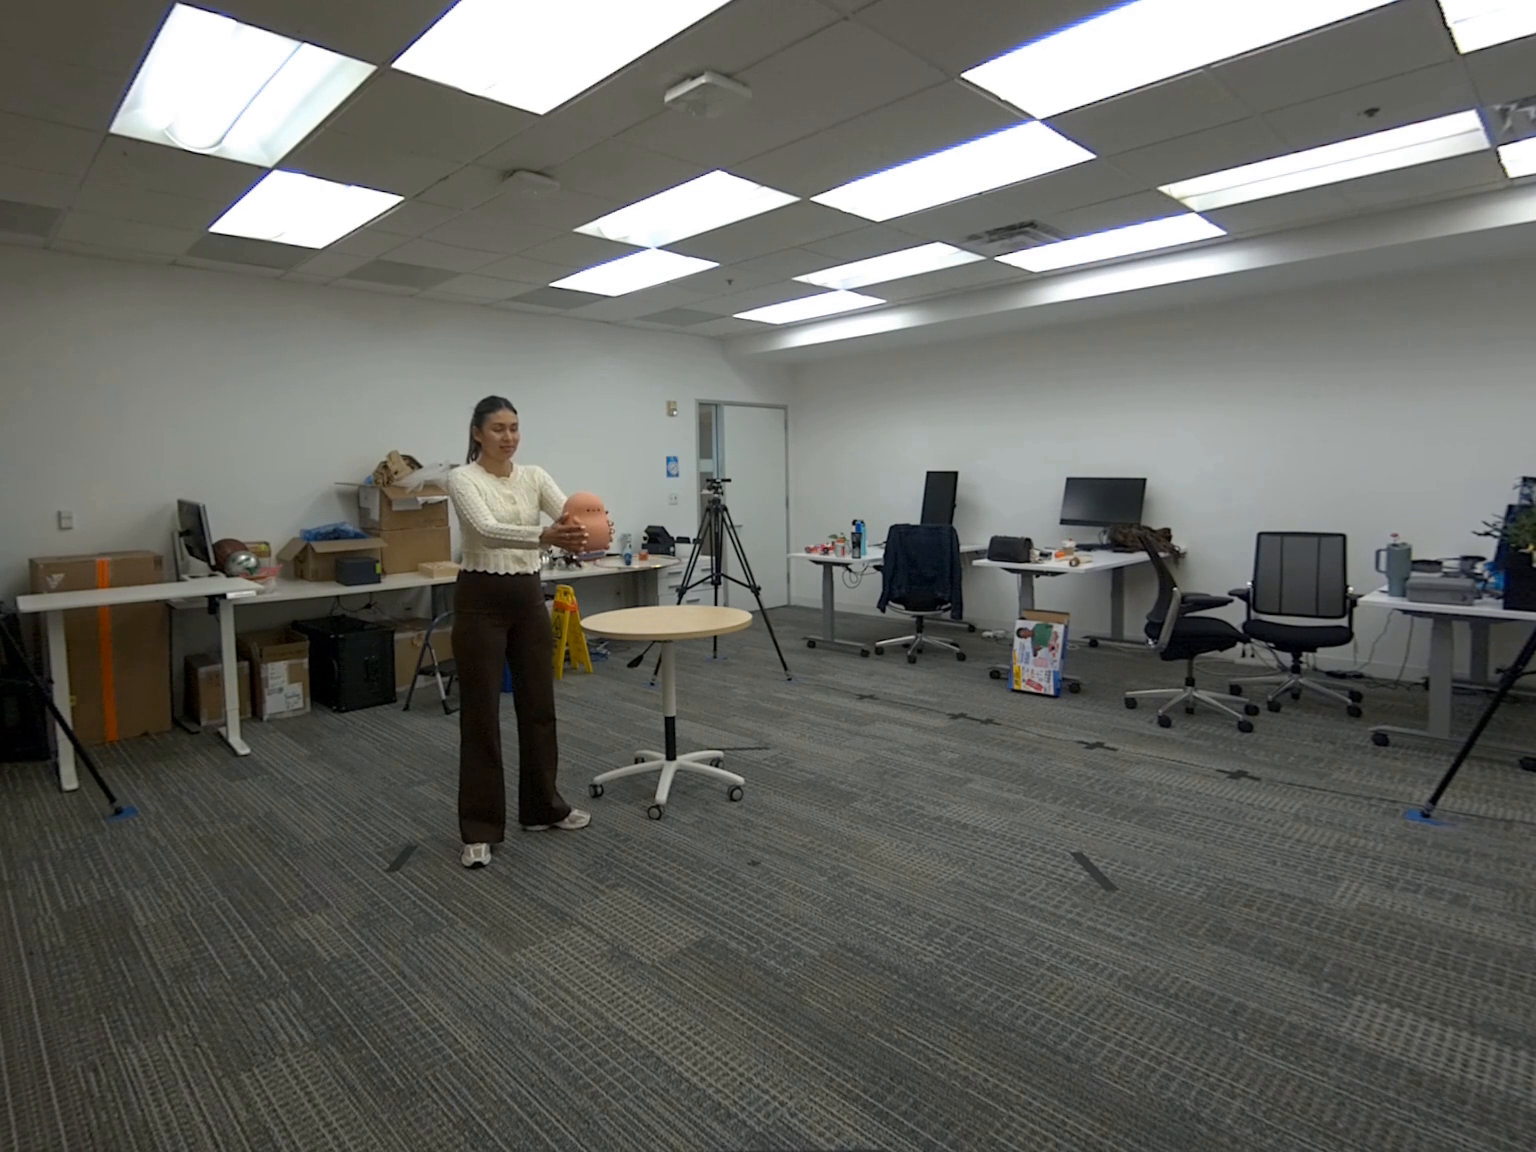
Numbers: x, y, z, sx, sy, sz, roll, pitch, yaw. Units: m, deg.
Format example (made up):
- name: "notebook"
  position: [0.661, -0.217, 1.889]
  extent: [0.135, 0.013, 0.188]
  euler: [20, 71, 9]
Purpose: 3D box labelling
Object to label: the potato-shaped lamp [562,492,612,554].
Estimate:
- name: "potato-shaped lamp"
  position: [-0.620, -0.183, 2.886]
  extent: [0.160, 0.197, 0.177]
  euler: [-3, 10, -35]
